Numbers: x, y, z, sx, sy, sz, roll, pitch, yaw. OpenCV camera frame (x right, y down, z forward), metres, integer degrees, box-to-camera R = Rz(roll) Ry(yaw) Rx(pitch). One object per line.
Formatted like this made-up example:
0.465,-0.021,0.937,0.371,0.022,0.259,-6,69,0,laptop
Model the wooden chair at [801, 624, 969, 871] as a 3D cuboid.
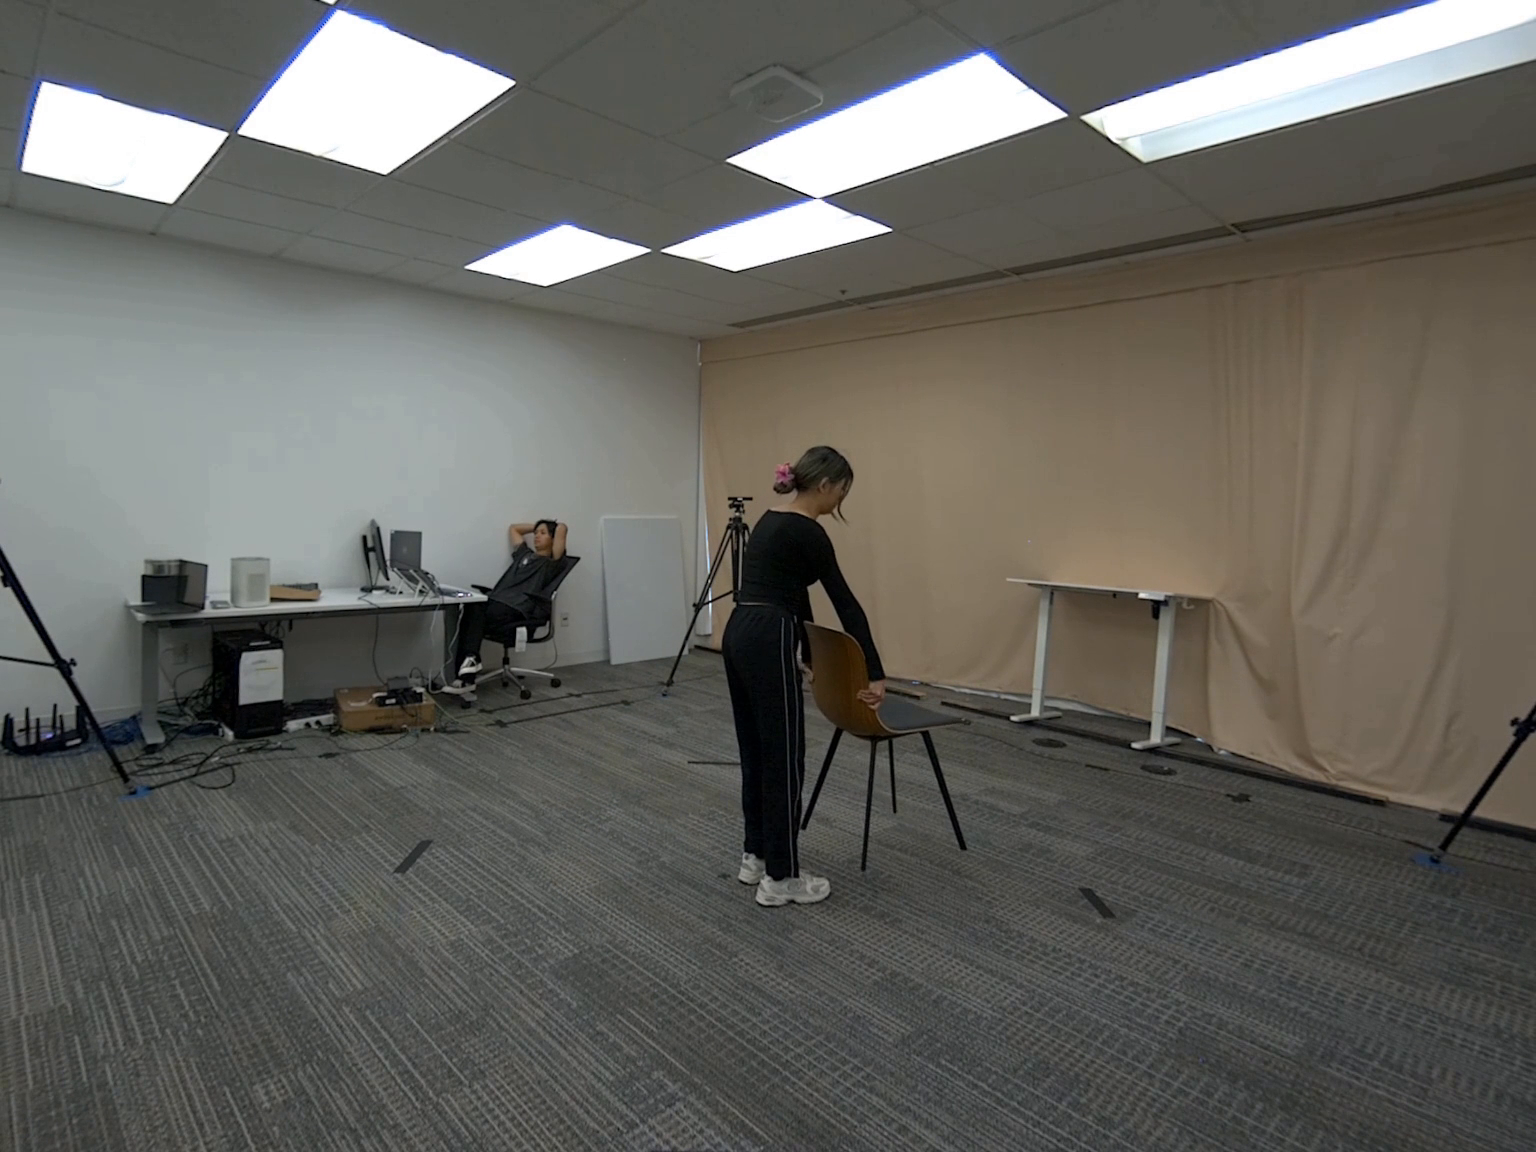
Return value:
0.430,0.584,3.198,0.515,0.874,0.487,-6,5,-25,wooden chair
